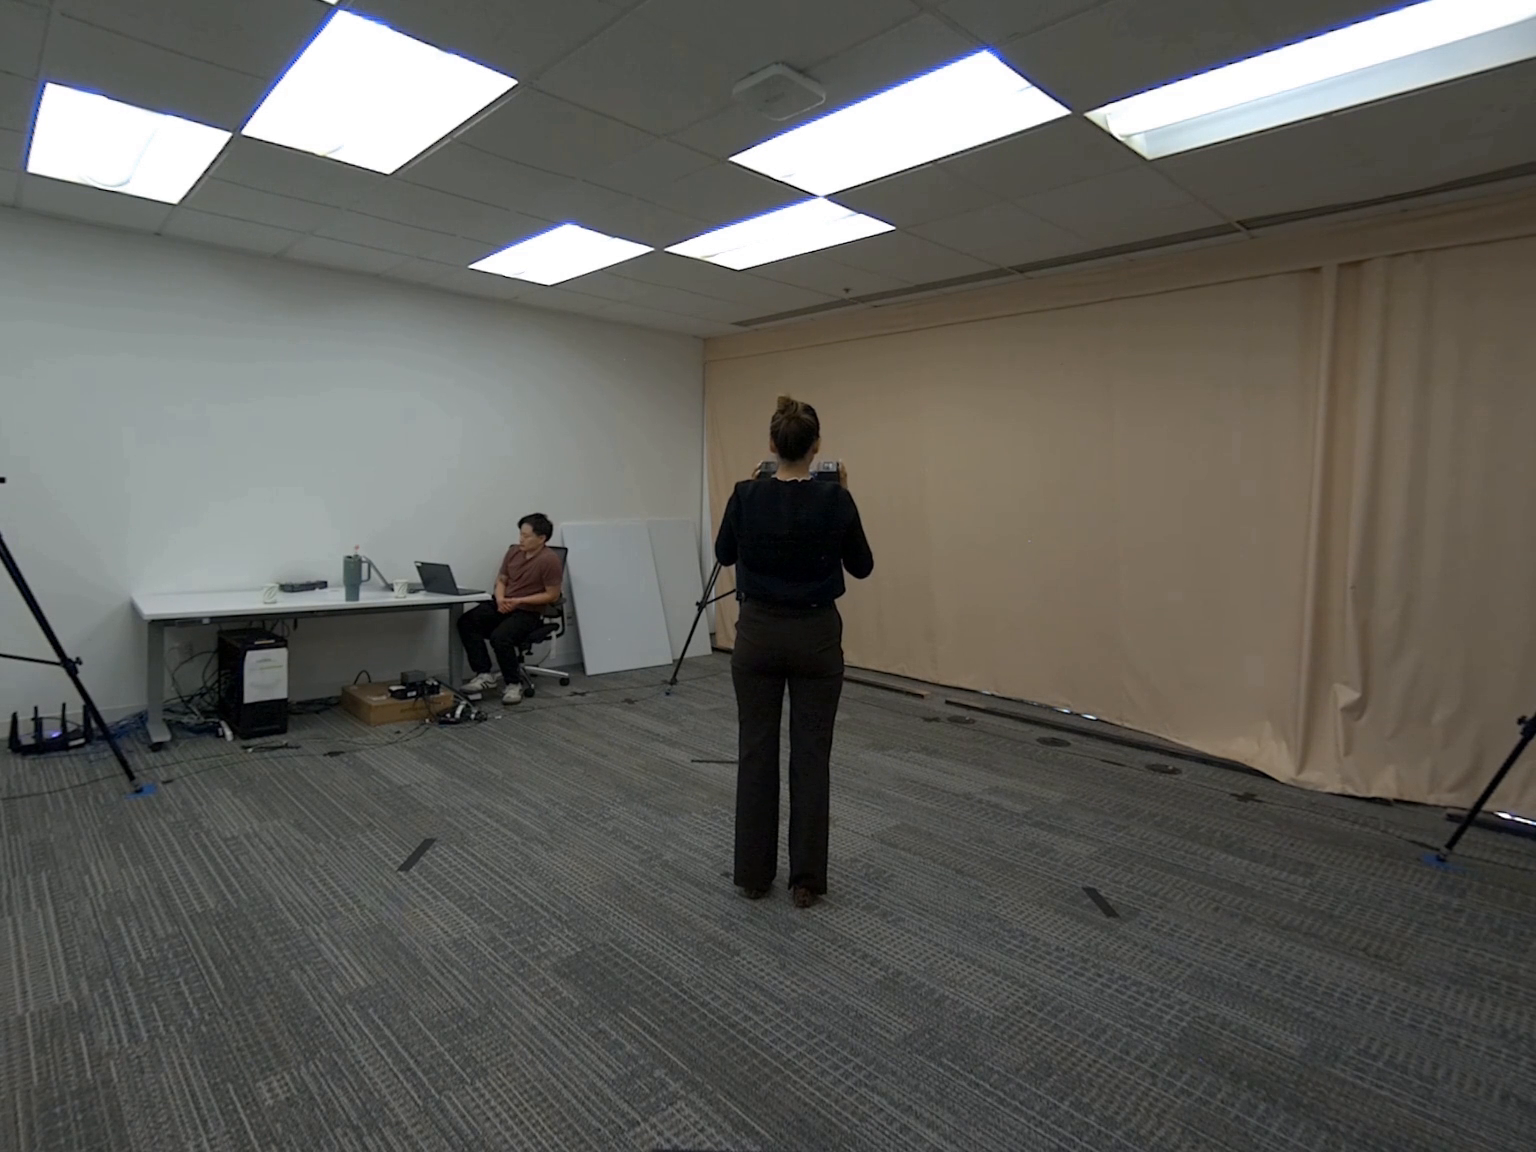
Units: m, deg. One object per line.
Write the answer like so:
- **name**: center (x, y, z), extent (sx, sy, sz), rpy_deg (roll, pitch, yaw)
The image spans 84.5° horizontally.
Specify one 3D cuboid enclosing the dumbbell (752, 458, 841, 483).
- **dumbbell**: center (0.112, -0.343, 3.053), extent (0.297, 0.110, 0.120), rpy_deg (-5, -18, 17)
